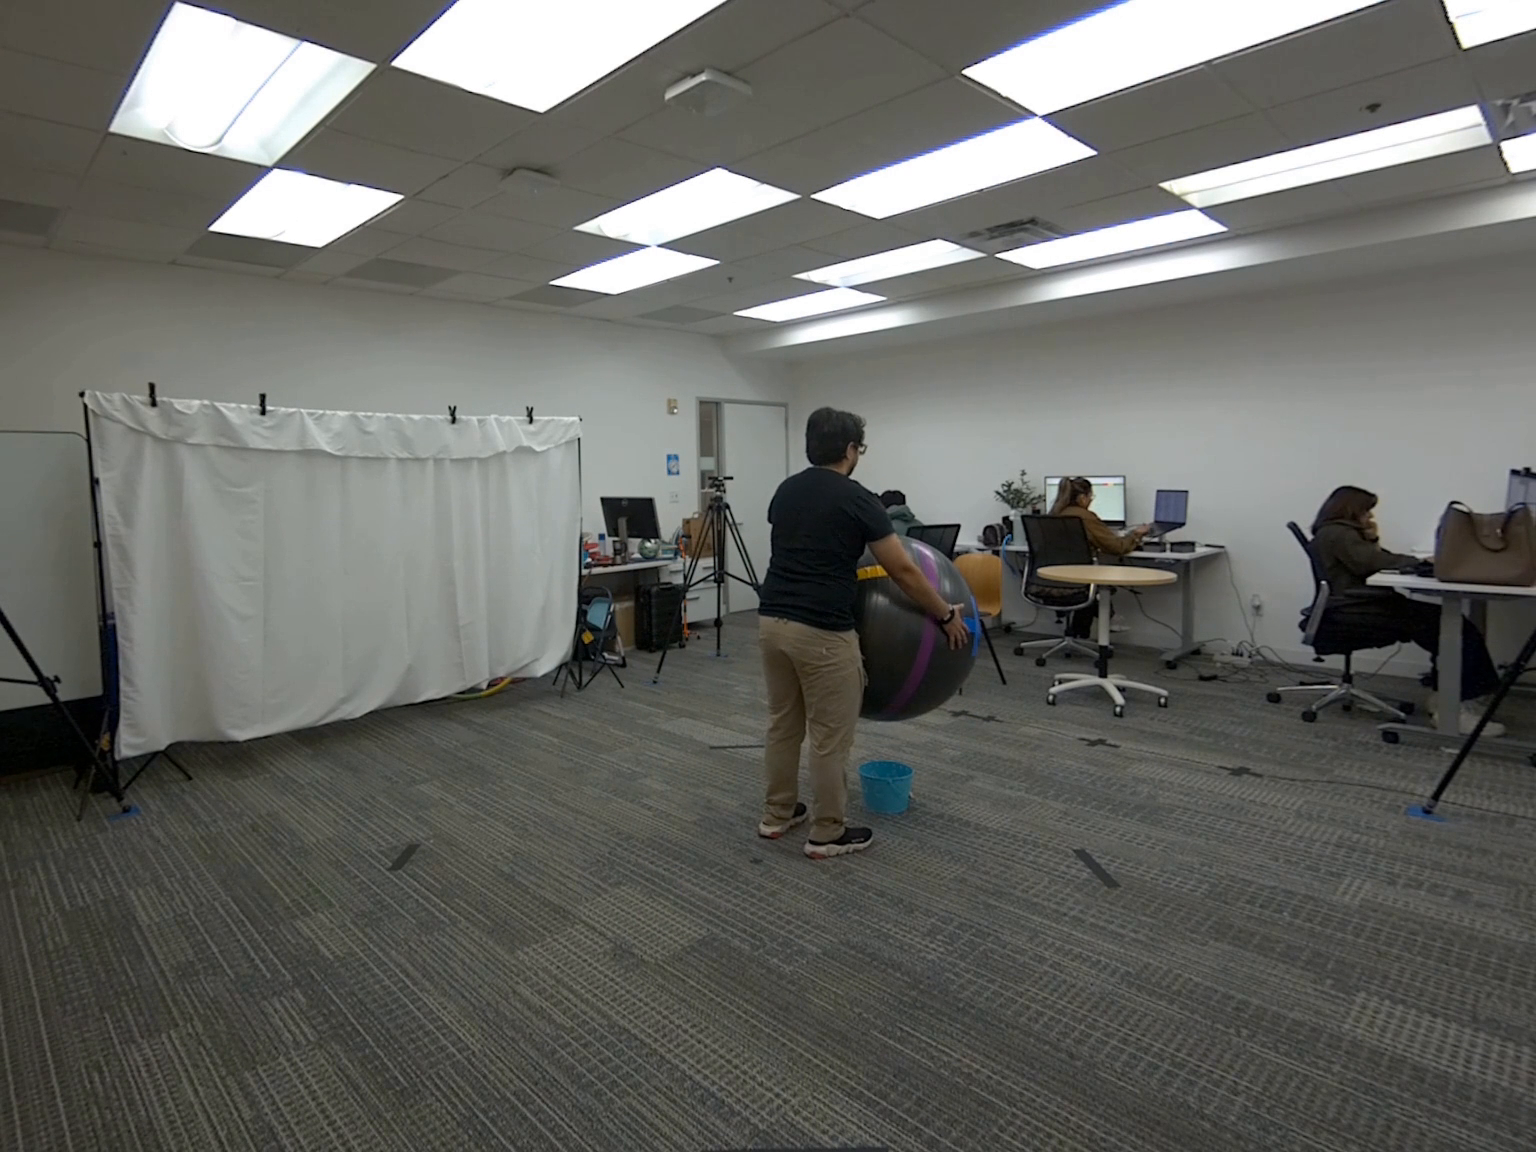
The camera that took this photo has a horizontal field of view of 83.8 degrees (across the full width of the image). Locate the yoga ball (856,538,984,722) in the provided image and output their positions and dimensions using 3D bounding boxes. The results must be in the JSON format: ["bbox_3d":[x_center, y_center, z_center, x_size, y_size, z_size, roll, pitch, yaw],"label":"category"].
[{"bbox_3d":[0.482,0.215,3.505,0.757,0.755,0.762,-1,5,-2],"label":"yoga ball"}]
